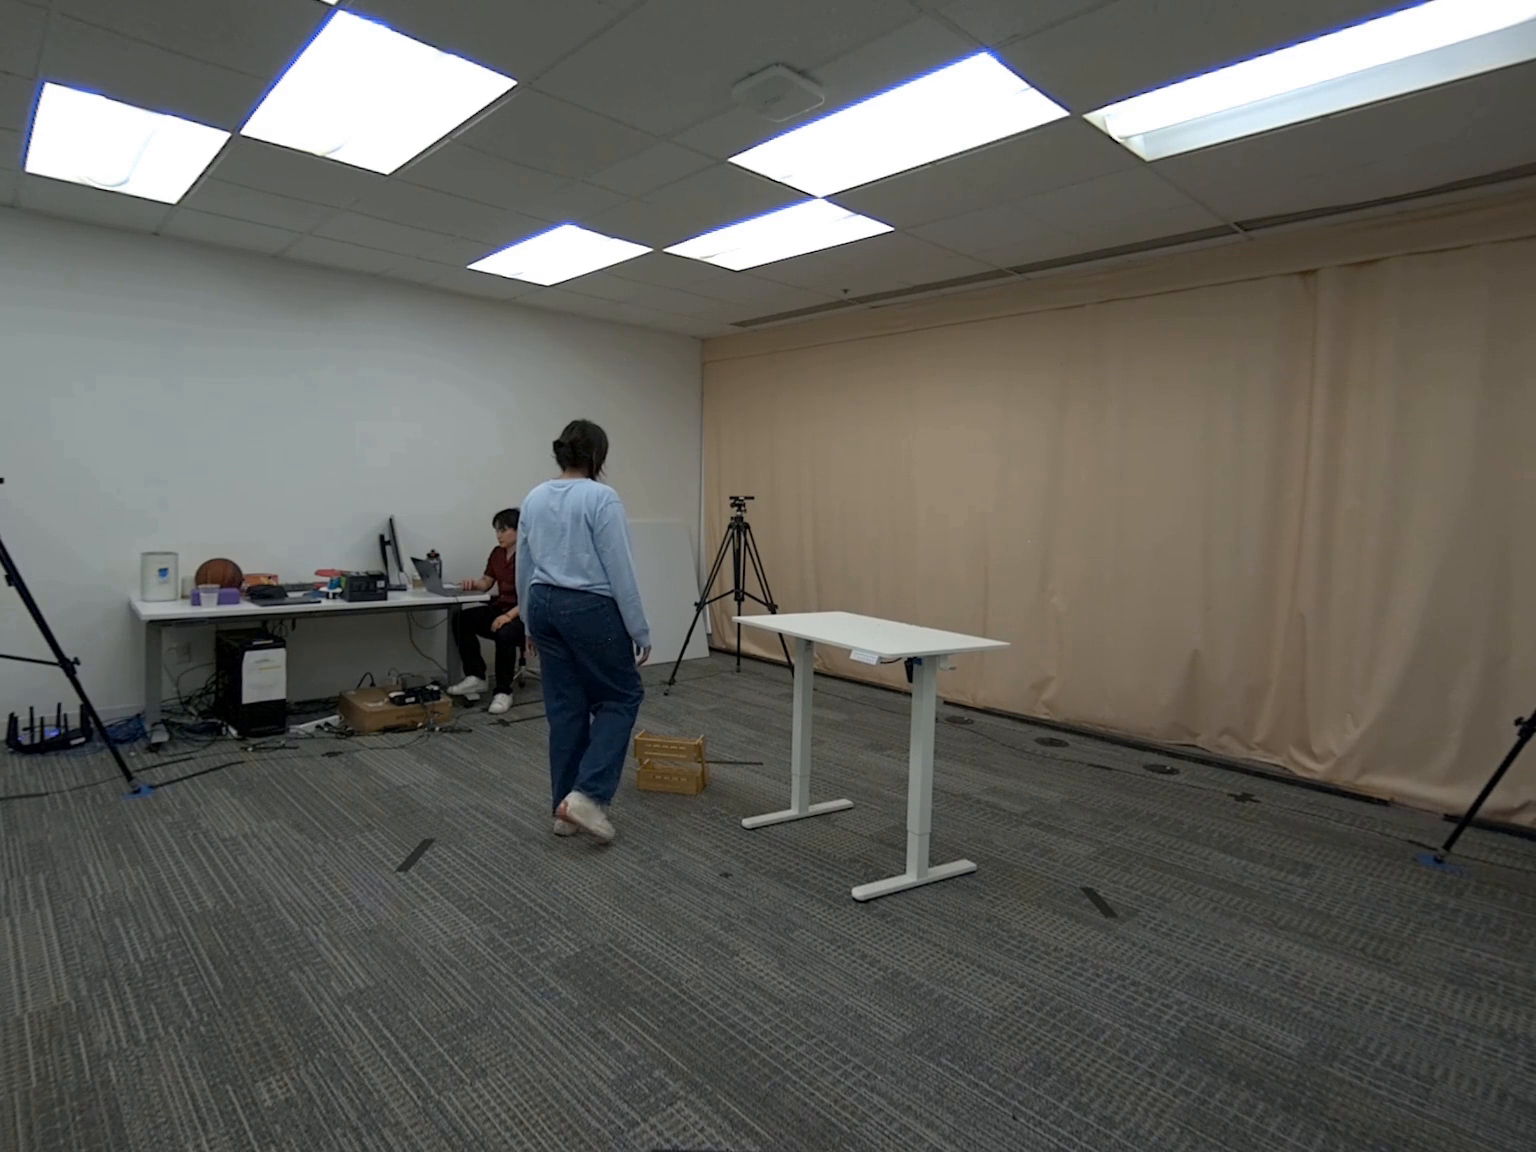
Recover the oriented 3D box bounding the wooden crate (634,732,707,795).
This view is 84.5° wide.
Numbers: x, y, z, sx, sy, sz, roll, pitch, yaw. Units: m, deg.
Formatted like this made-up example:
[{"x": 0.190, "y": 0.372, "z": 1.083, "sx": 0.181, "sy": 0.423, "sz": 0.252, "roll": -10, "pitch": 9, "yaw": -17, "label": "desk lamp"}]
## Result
[{"x": -0.471, "y": 0.882, "z": 4.085, "sx": 0.327, "sy": 0.272, "sz": 0.300, "roll": 2, "pitch": 4, "yaw": 10, "label": "wooden crate"}]
